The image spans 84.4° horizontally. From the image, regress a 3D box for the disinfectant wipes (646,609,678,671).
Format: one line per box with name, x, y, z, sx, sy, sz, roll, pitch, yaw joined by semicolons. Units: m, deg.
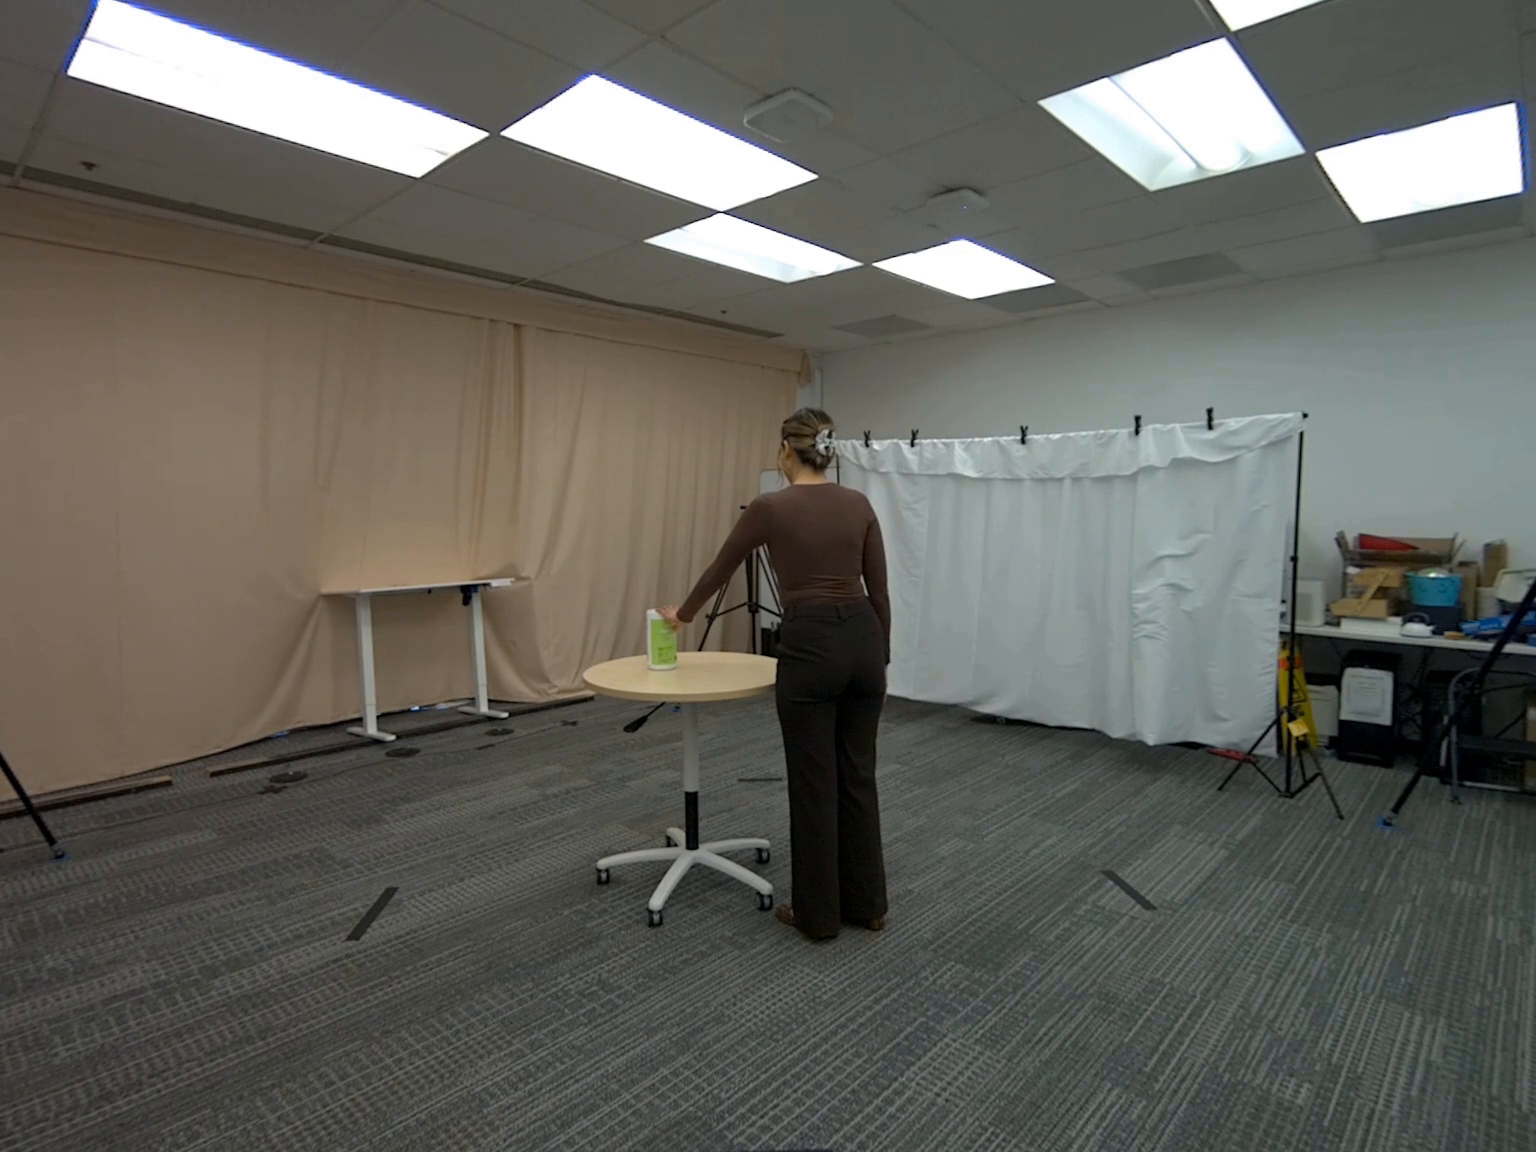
disinfectant wipes;-0.396;0.235;3.101;0.118;0.217;0.118;1;4;-2
